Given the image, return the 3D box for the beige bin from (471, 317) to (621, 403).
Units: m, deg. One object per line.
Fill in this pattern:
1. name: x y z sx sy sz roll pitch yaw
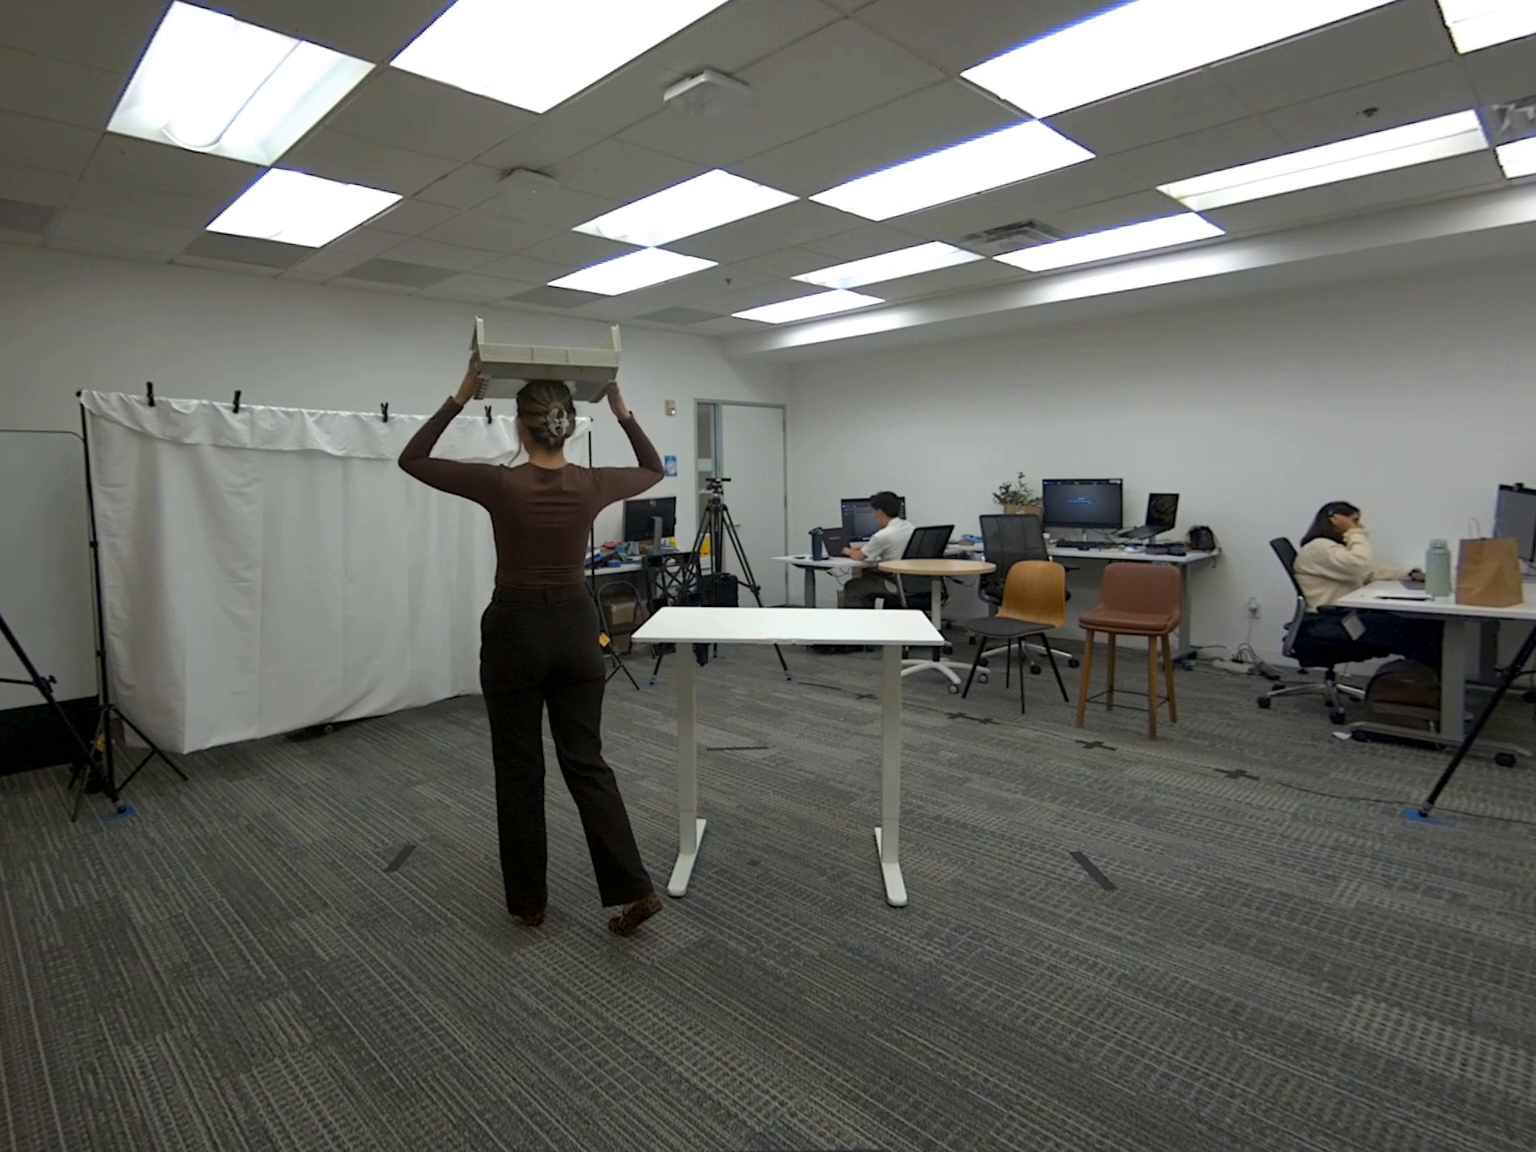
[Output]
1. beige bin: -0.702 -0.669 2.681 0.415 0.189 0.383 -3 -1 -21
